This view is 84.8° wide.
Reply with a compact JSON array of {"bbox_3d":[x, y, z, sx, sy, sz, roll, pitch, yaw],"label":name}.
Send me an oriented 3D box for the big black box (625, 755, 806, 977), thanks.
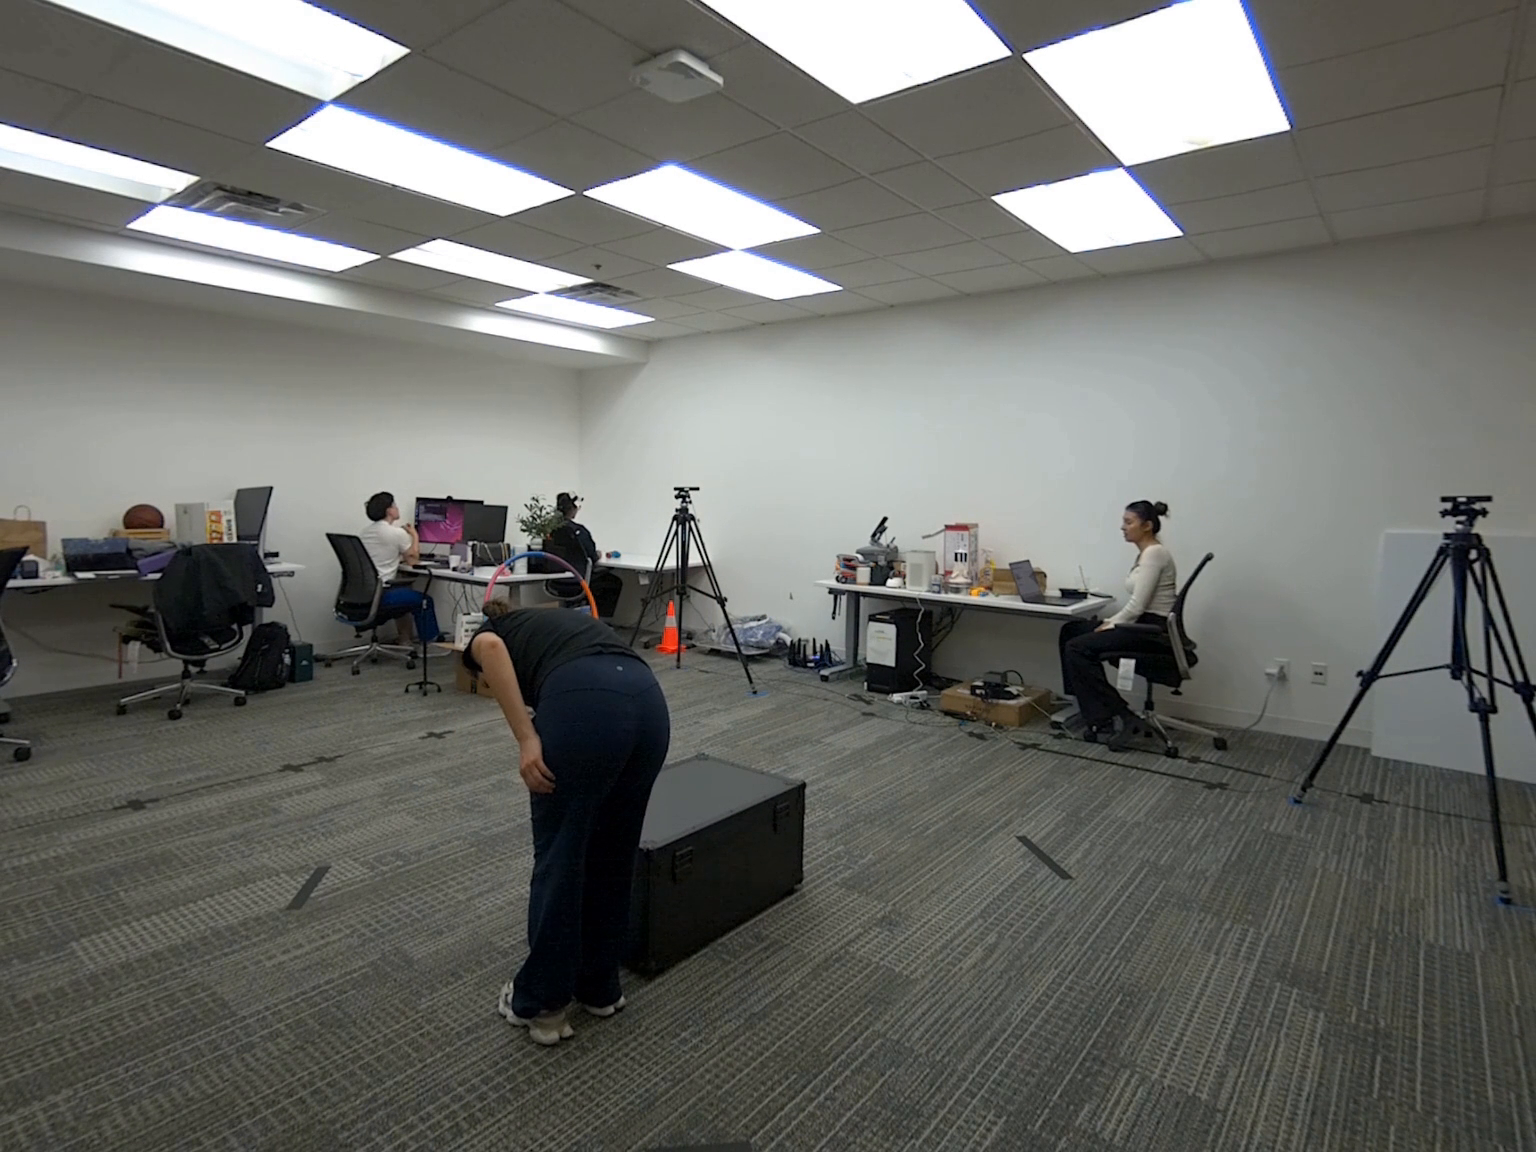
[{"bbox_3d":[-0.265,0.883,2.854,0.538,0.395,0.836,4,6,38],"label":"big black box"}]
